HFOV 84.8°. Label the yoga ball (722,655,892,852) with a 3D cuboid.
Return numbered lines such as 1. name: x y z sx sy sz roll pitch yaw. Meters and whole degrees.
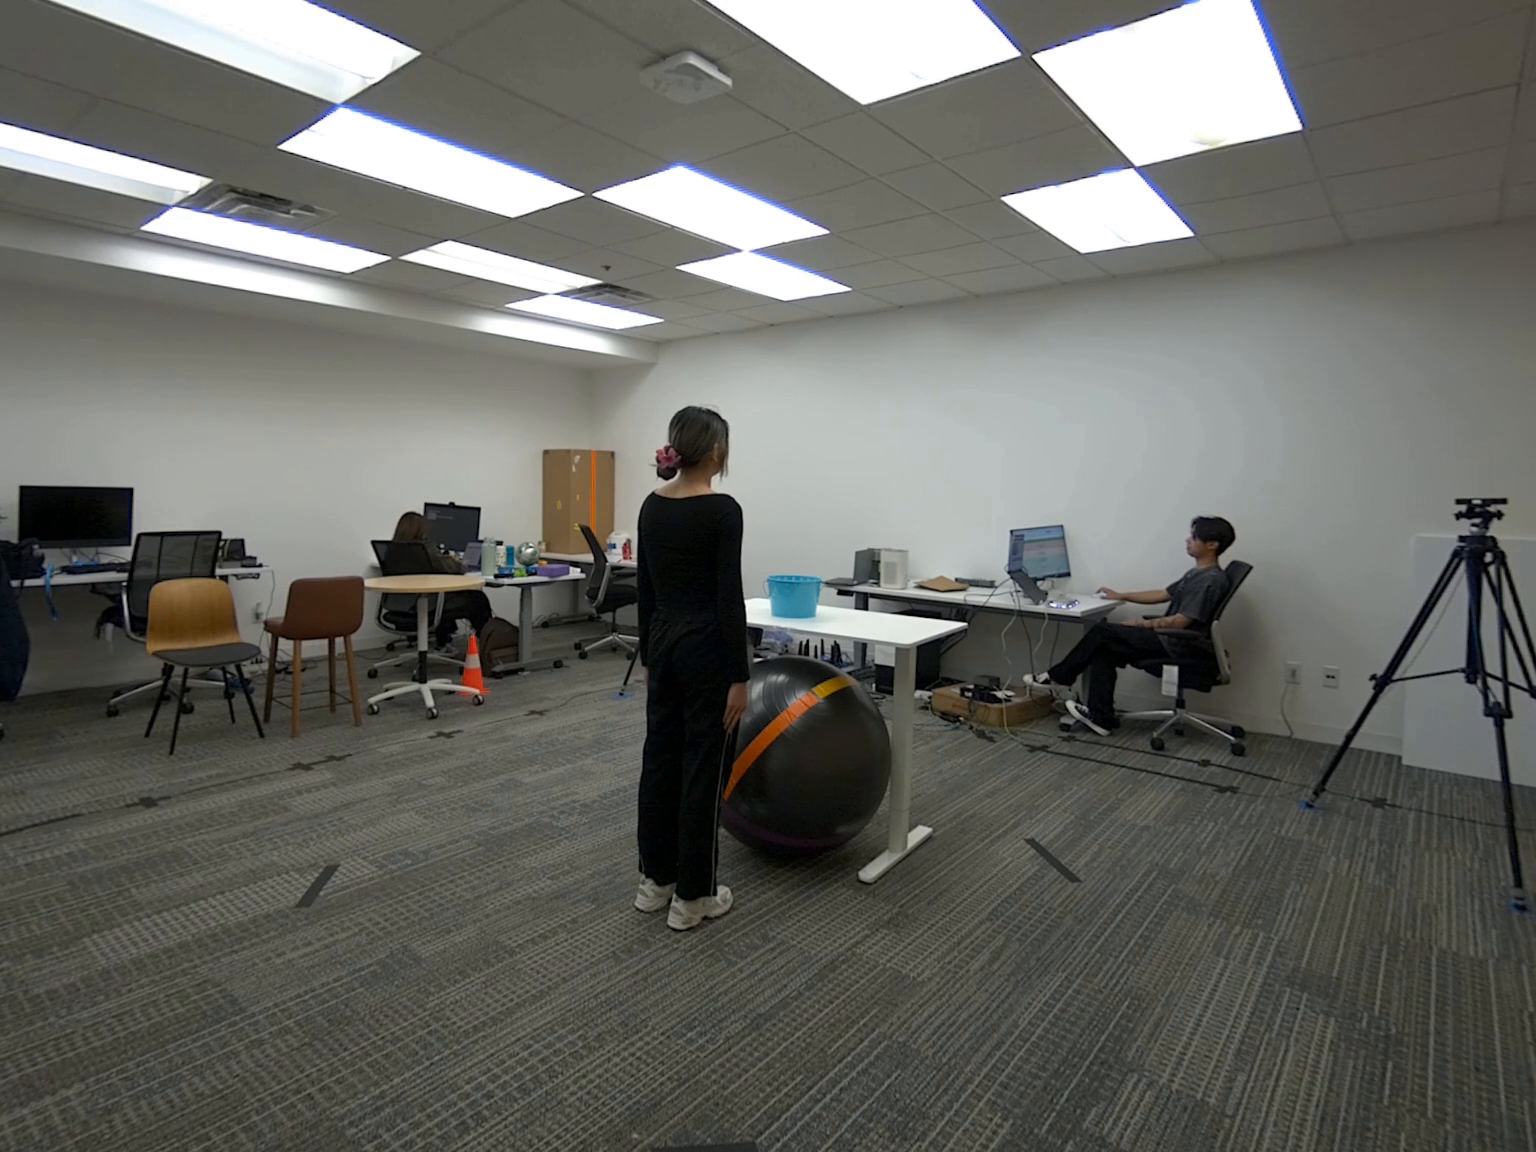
1. yoga ball: 0.096 0.695 3.297 0.757 0.756 0.761 1 4 -2
